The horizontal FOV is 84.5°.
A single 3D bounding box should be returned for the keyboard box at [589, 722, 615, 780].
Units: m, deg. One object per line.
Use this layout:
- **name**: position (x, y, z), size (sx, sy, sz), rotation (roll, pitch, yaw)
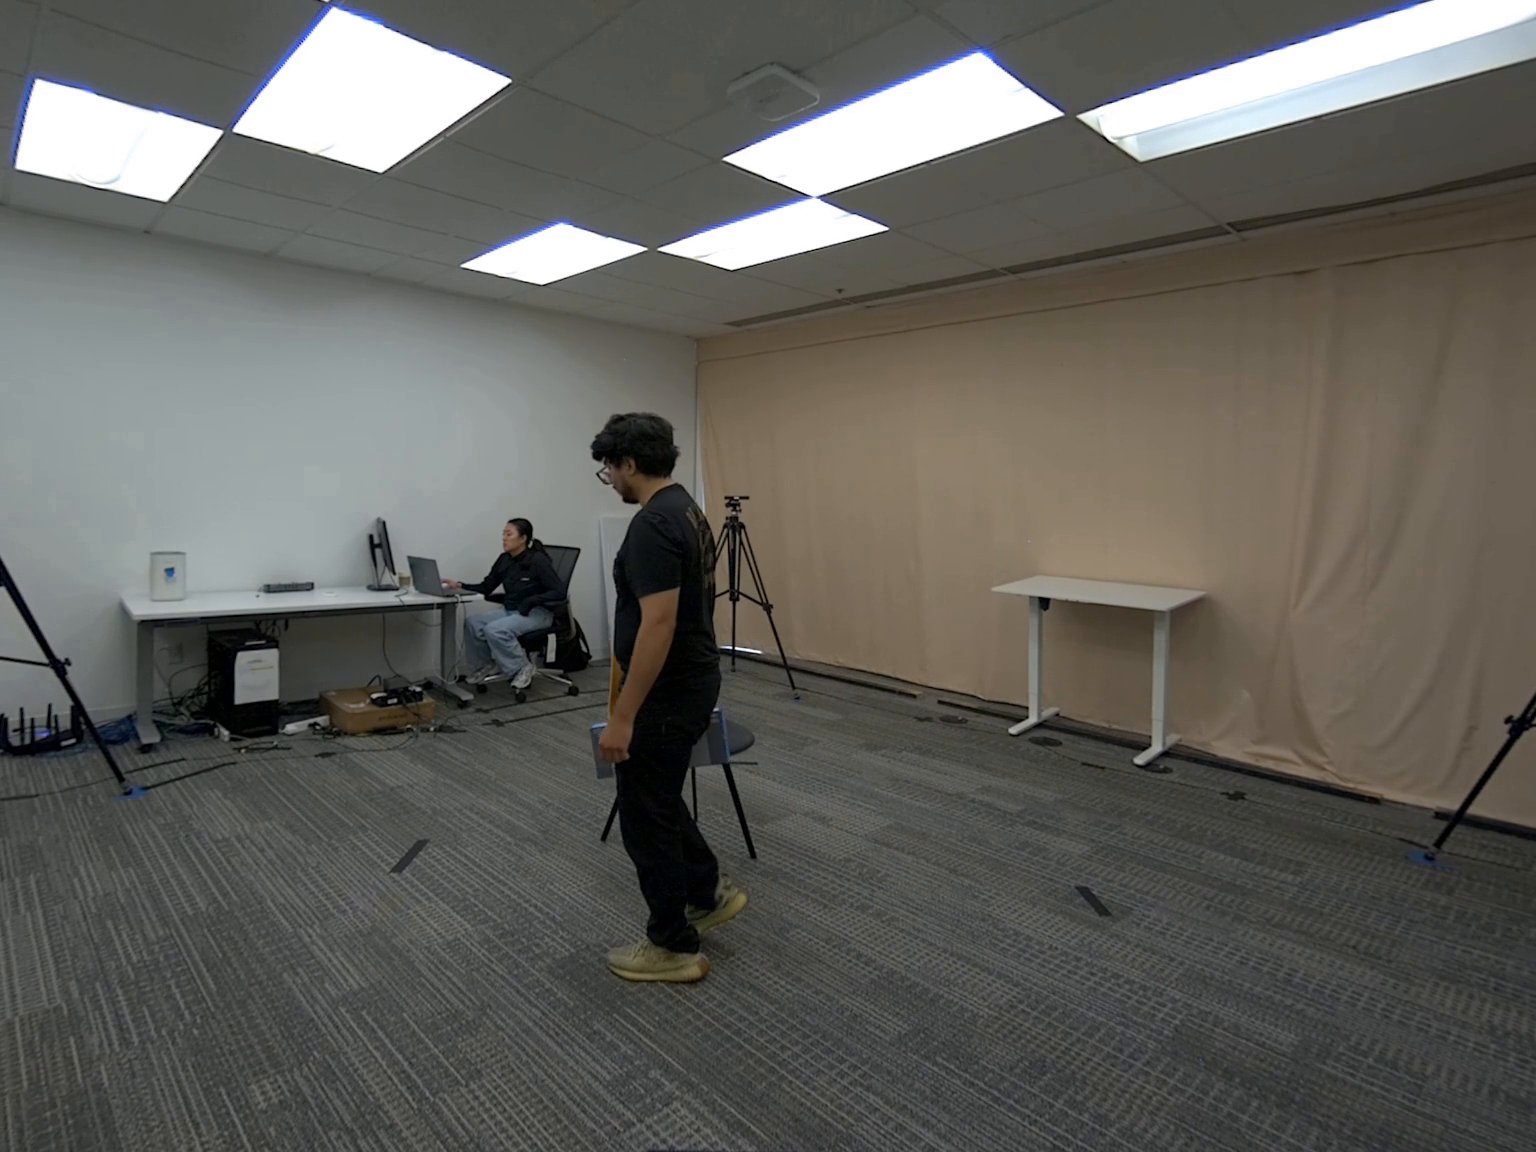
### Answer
- **keyboard box**: position (-0.357, 0.542, 2.750), size (0.440, 0.176, 0.058), rotation (-6, -1, 10)
